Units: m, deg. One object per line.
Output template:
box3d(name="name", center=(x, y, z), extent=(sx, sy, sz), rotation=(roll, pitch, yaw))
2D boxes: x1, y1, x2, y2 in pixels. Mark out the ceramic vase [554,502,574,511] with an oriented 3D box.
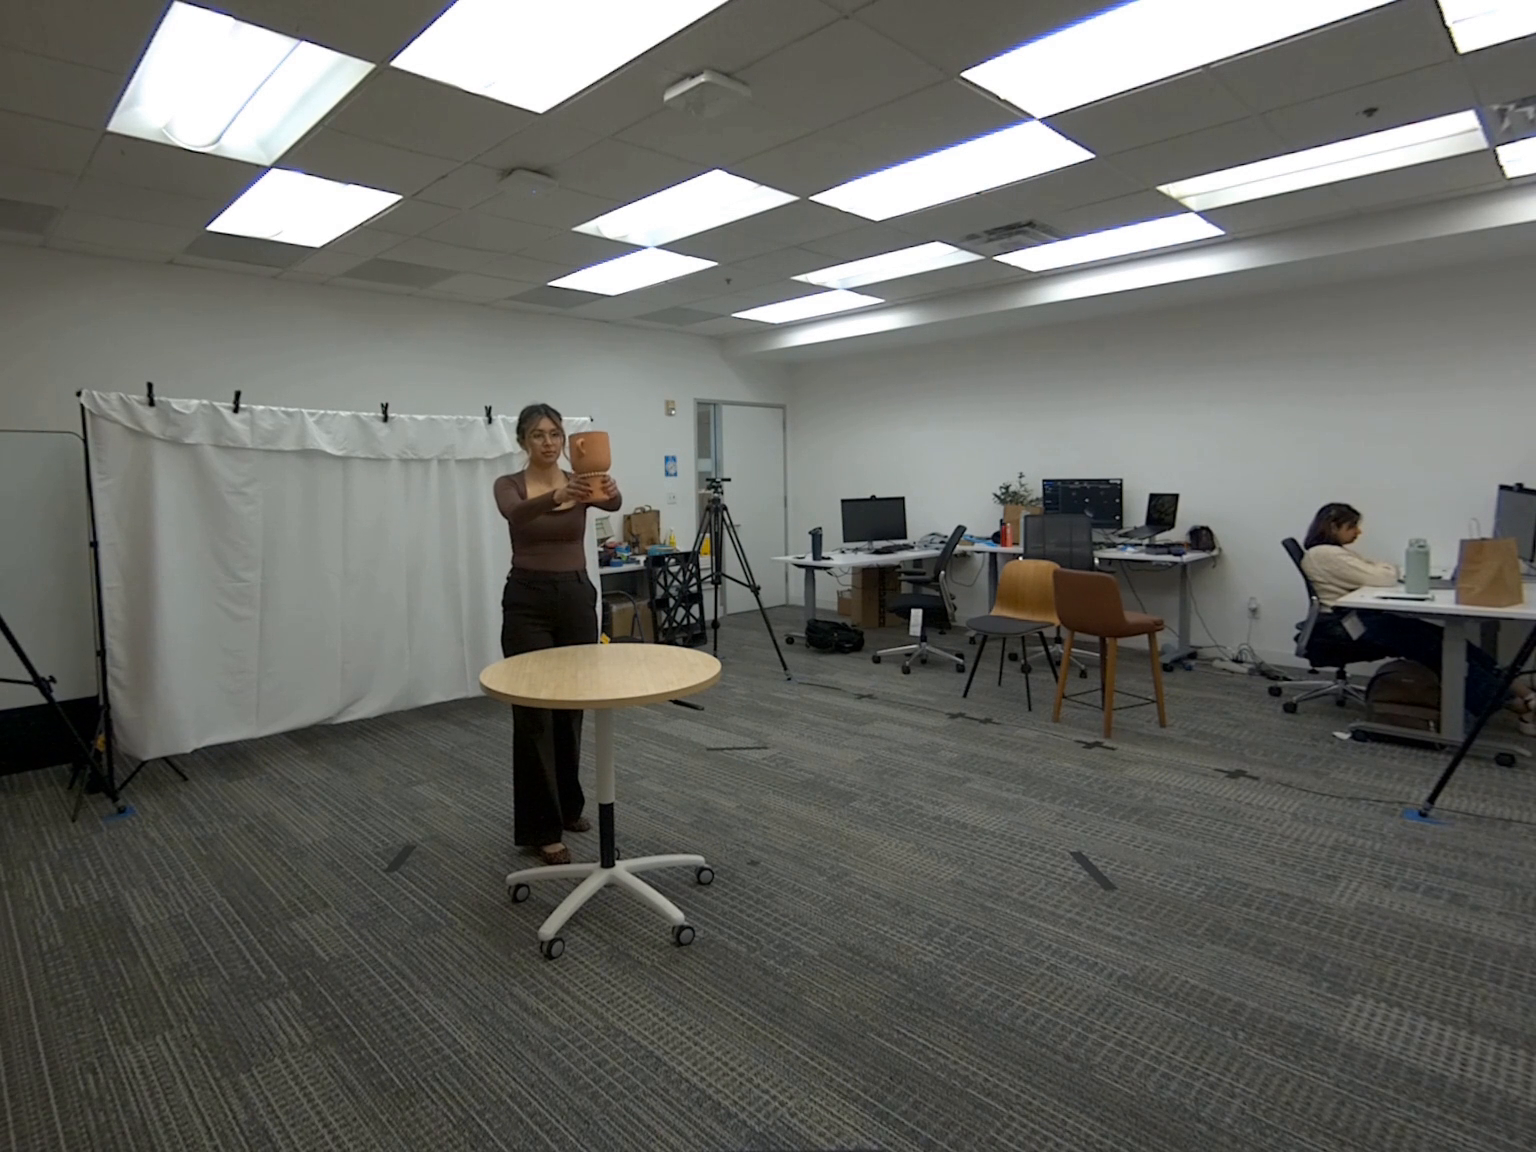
box3d(name="ceramic vase", center=(-0.569, -0.357, 2.802), extent=(0.154, 0.220, 0.138), rotation=(-4, 0, -39))
